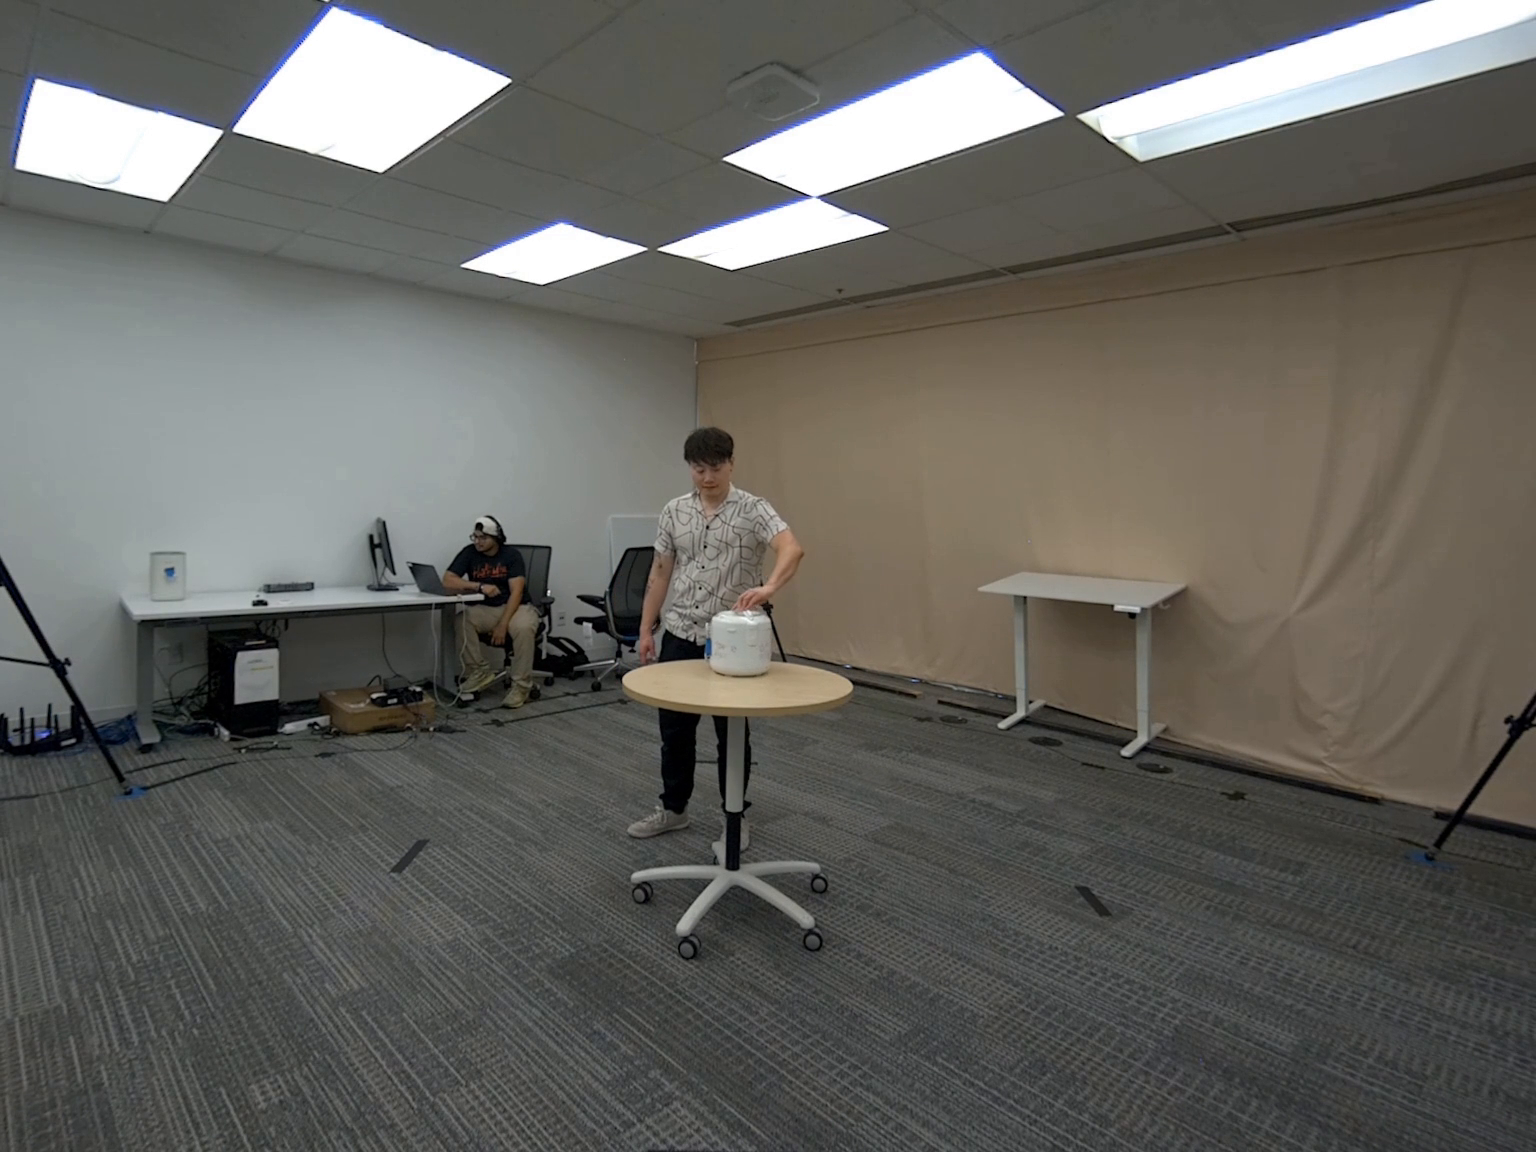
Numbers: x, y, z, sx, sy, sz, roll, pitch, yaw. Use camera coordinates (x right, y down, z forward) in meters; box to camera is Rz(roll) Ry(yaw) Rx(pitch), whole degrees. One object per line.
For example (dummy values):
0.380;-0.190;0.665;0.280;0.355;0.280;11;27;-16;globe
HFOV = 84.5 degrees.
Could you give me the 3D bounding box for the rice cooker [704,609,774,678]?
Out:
-0.103;0.222;2.942;0.214;0.232;0.225;0;5;-22;rice cooker
